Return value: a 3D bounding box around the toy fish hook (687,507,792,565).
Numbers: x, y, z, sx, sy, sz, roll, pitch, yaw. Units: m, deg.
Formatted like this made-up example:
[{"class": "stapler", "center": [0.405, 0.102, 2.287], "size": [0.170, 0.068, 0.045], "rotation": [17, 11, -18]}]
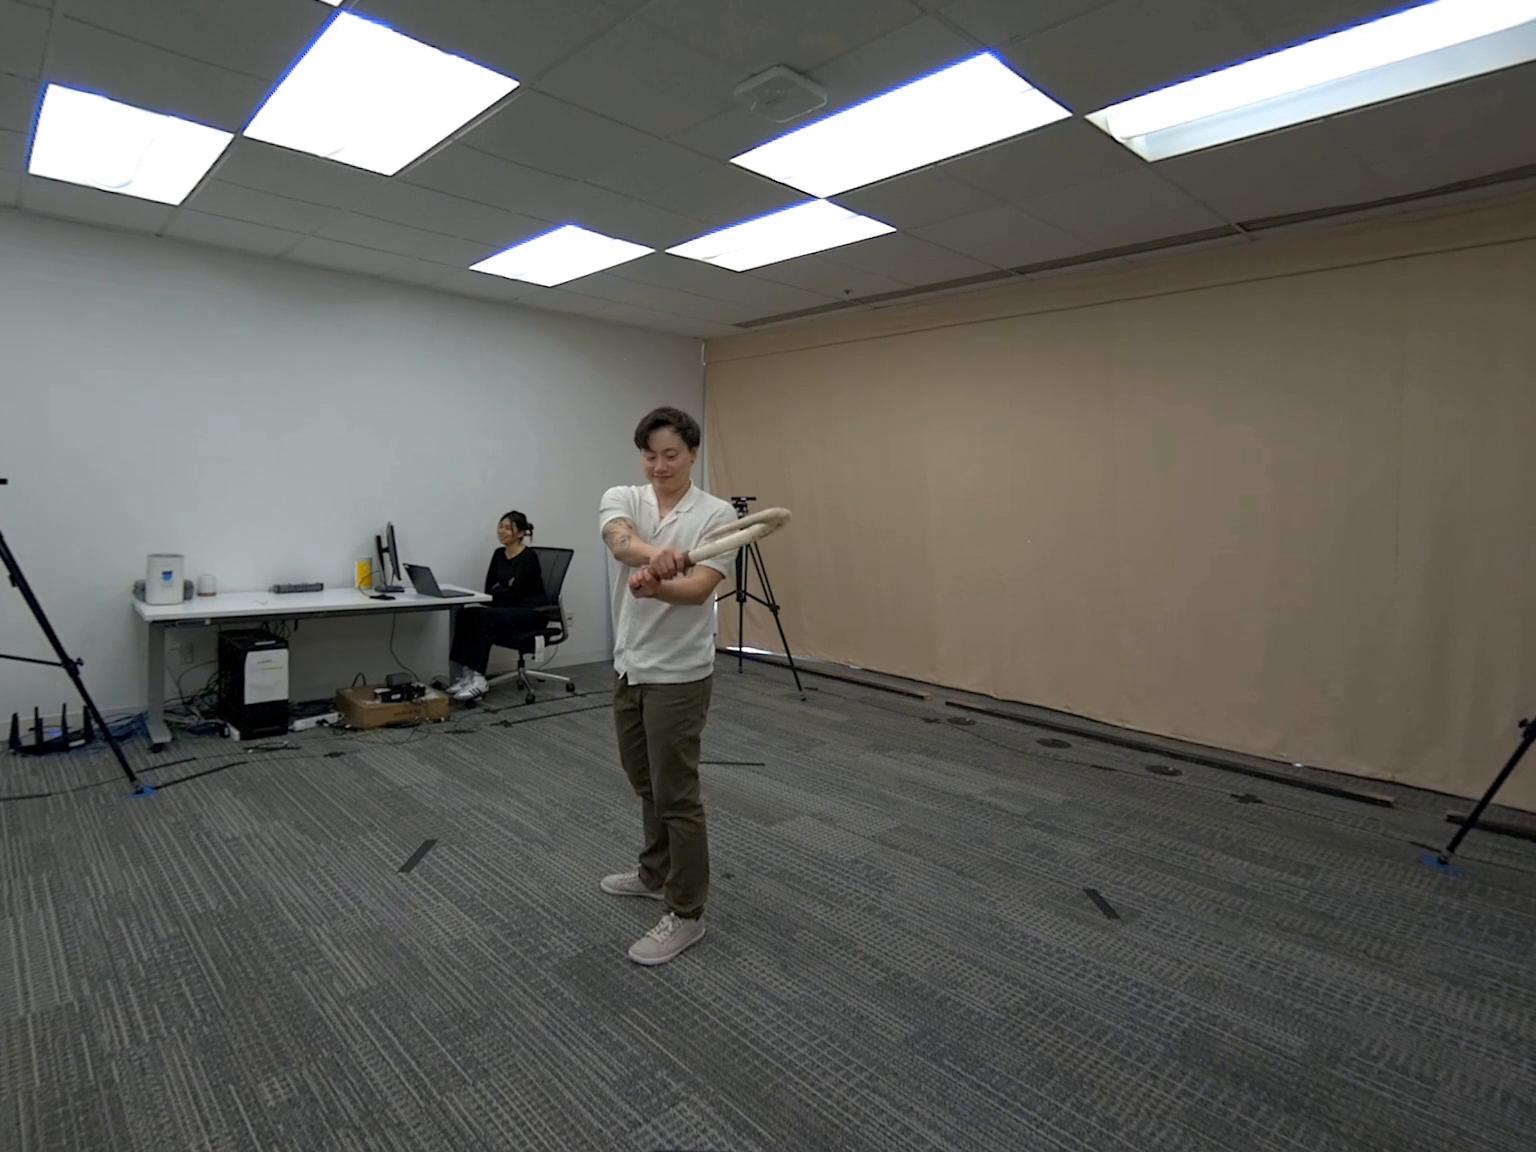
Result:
[{"class": "toy fish hook", "center": [-0.202, -0.062, 2.156], "size": [0.511, 0.049, 0.220], "rotation": [-25, -13, 24]}]
